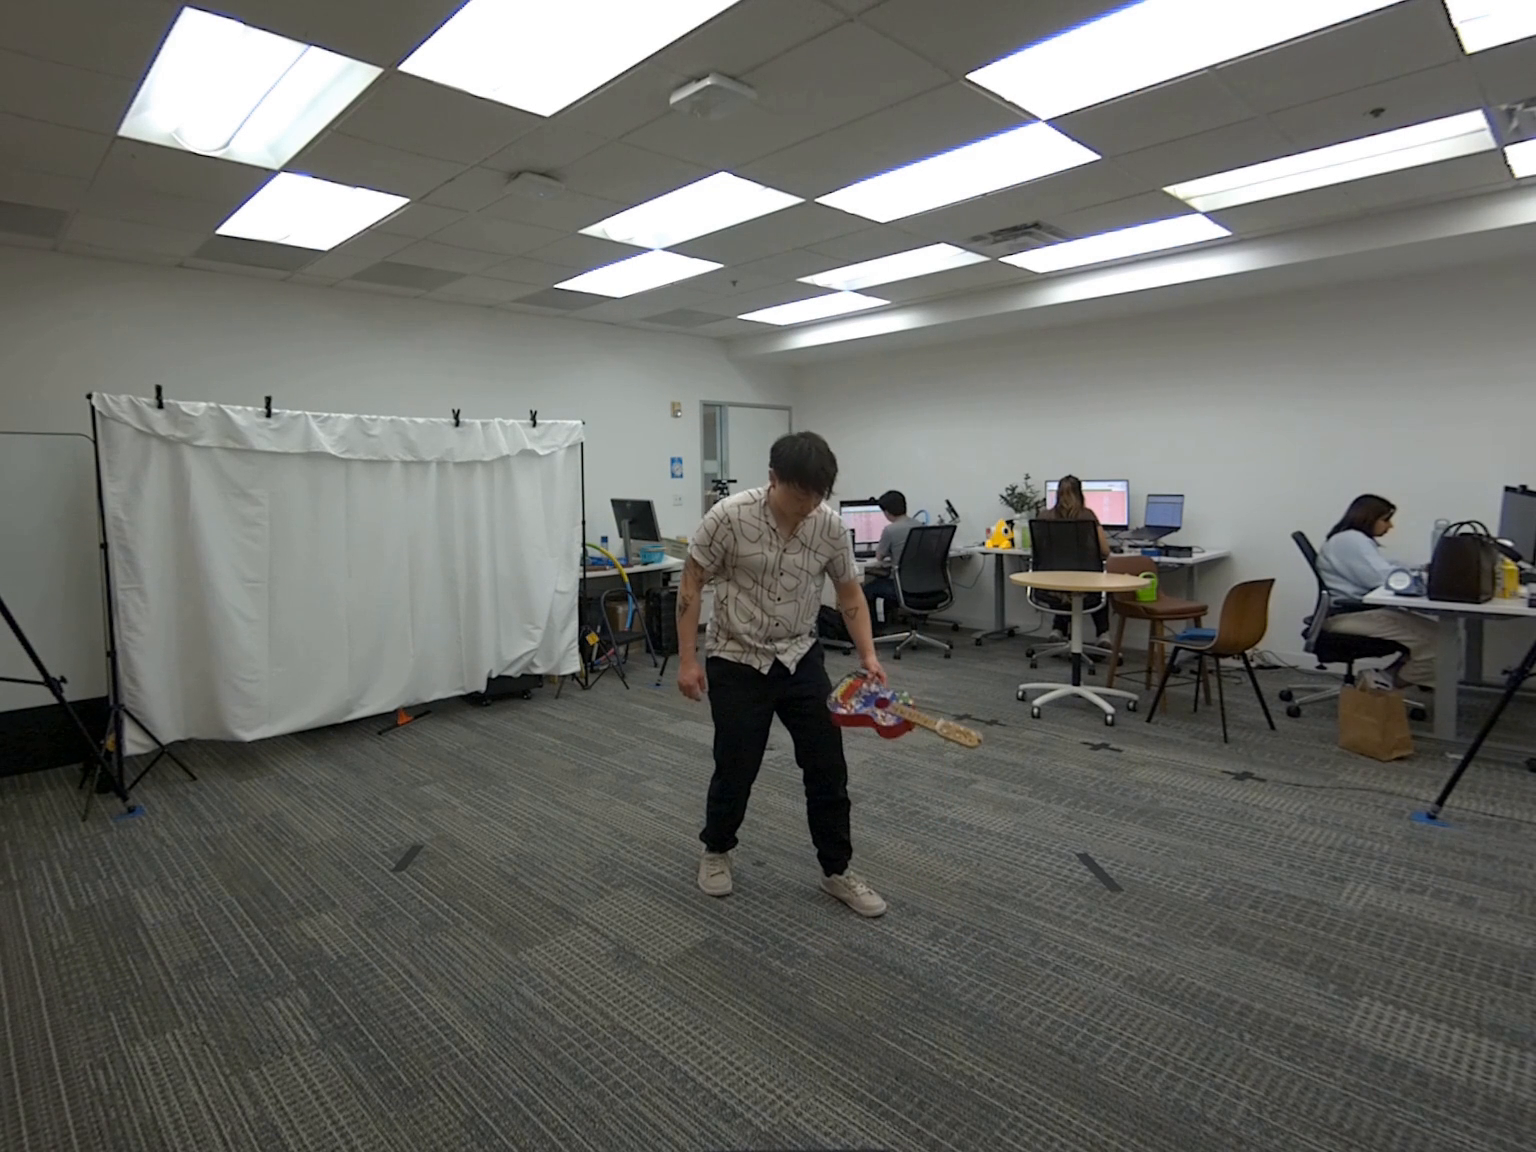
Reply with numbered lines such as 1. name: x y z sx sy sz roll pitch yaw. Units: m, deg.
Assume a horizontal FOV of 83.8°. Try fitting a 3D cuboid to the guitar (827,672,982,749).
1. guitar: 0.384 0.440 2.550 0.192 0.068 0.517 -35 38 -22
